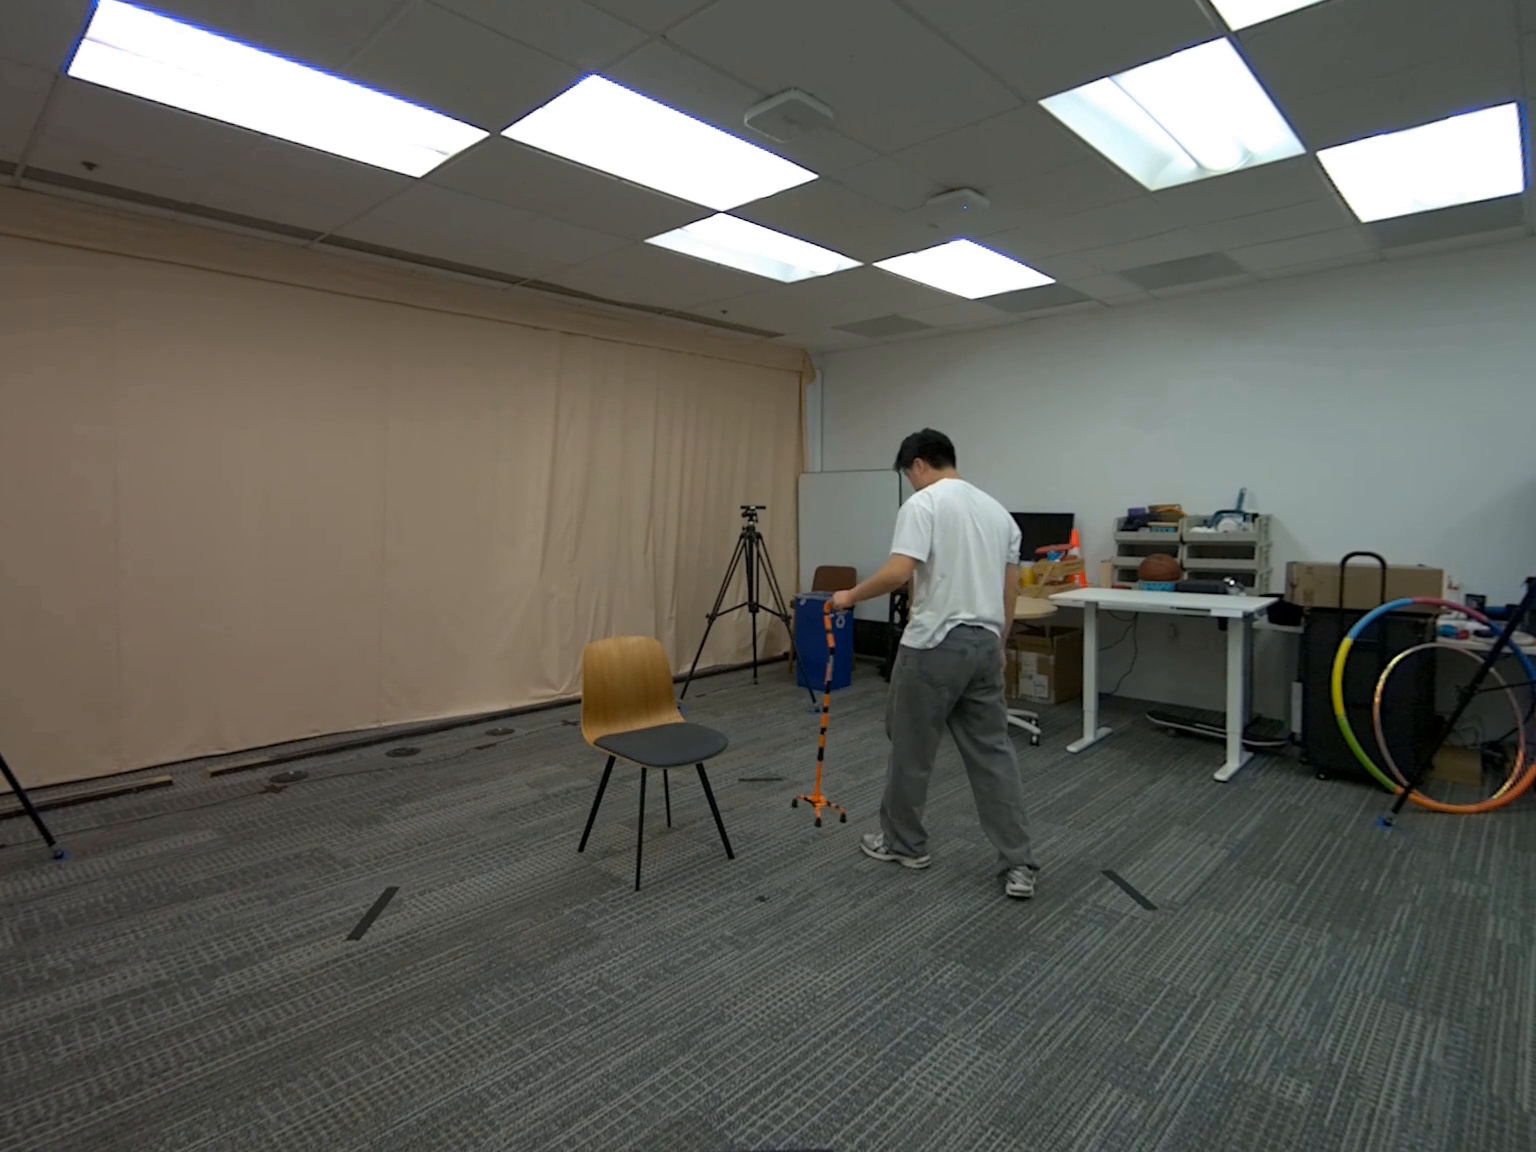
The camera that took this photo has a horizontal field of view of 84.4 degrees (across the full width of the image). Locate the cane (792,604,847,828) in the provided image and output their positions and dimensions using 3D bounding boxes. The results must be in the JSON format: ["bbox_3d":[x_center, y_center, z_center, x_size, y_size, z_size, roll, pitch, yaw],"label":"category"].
[{"bbox_3d":[0.261,0.554,3.391,0.147,0.903,0.213,-1,10,-29],"label":"cane"}]
